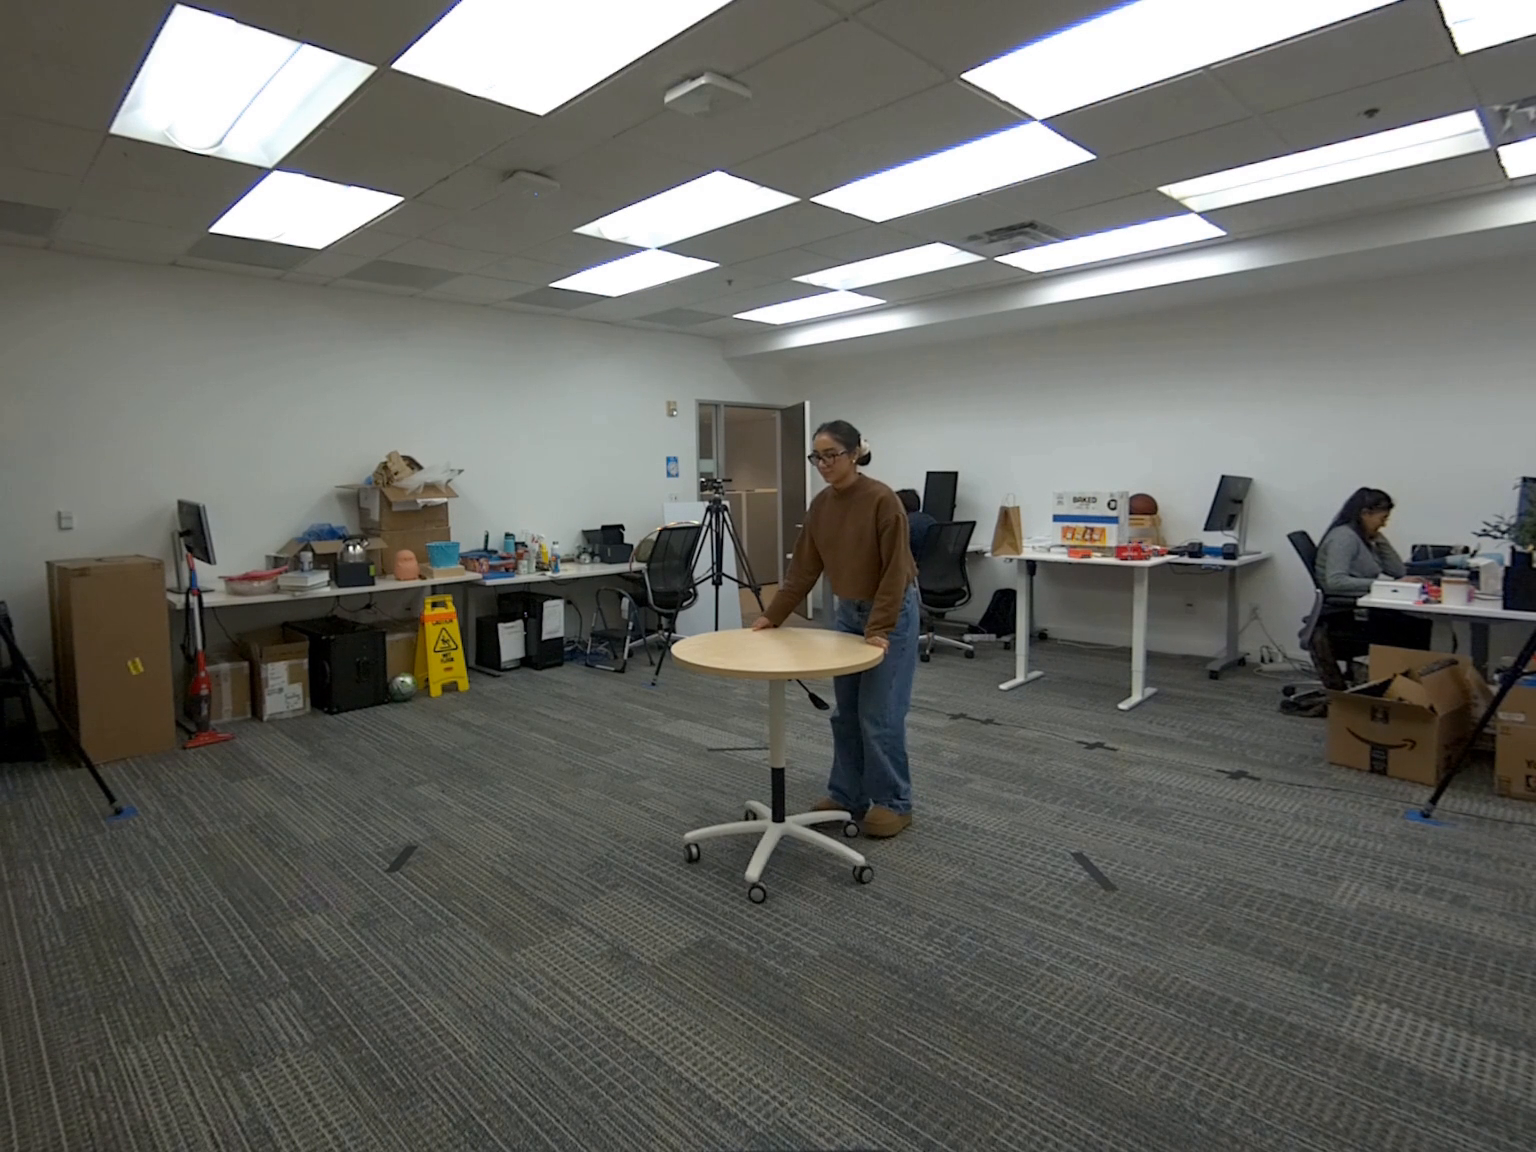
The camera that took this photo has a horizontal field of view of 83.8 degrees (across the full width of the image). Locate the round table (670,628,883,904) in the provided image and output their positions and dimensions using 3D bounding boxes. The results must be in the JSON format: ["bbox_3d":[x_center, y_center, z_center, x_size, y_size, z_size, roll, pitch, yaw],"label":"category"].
[{"bbox_3d":[0.031,0.651,3.119,0.763,0.790,0.768,-1,5,-2],"label":"round table"}]
